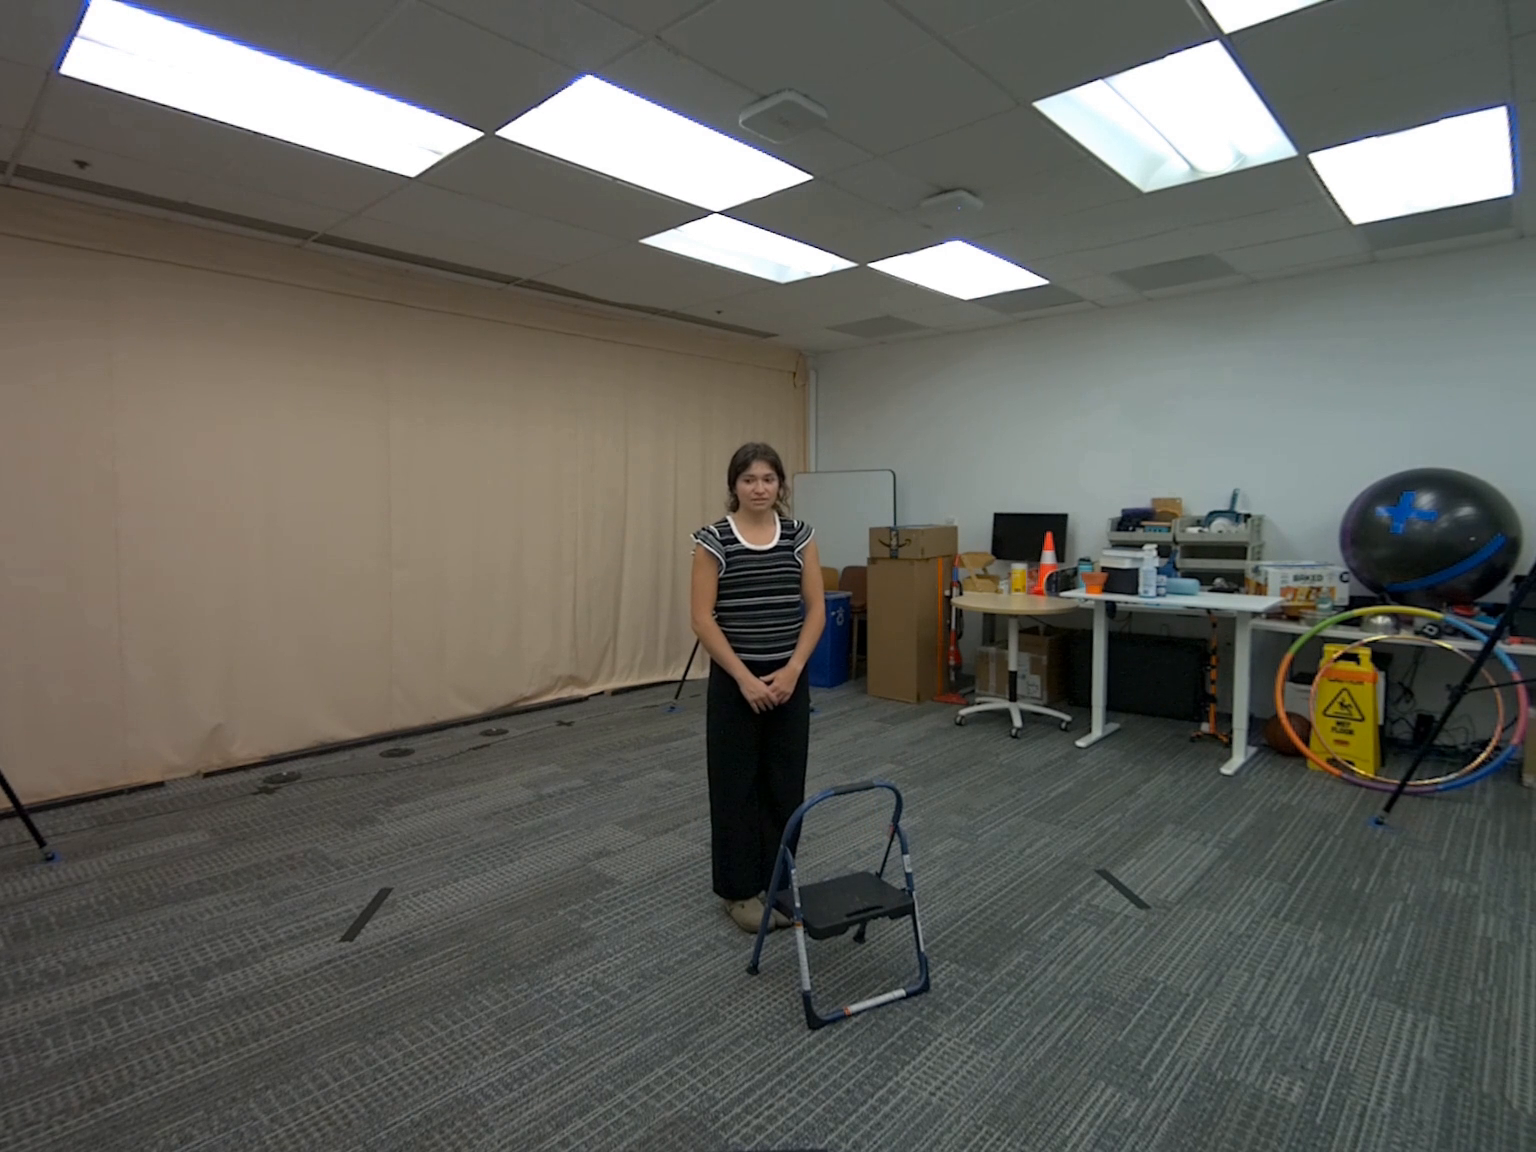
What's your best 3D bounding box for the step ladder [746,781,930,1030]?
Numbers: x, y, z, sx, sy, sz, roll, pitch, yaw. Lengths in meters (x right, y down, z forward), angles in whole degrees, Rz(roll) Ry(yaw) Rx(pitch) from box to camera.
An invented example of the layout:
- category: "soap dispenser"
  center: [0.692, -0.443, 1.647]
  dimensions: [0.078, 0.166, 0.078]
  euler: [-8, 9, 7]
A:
- category: "step ladder"
  center: [0.211, 0.886, 2.458]
  dimensions: [0.419, 0.605, 0.359]
  euler: [-2, 4, -30]
